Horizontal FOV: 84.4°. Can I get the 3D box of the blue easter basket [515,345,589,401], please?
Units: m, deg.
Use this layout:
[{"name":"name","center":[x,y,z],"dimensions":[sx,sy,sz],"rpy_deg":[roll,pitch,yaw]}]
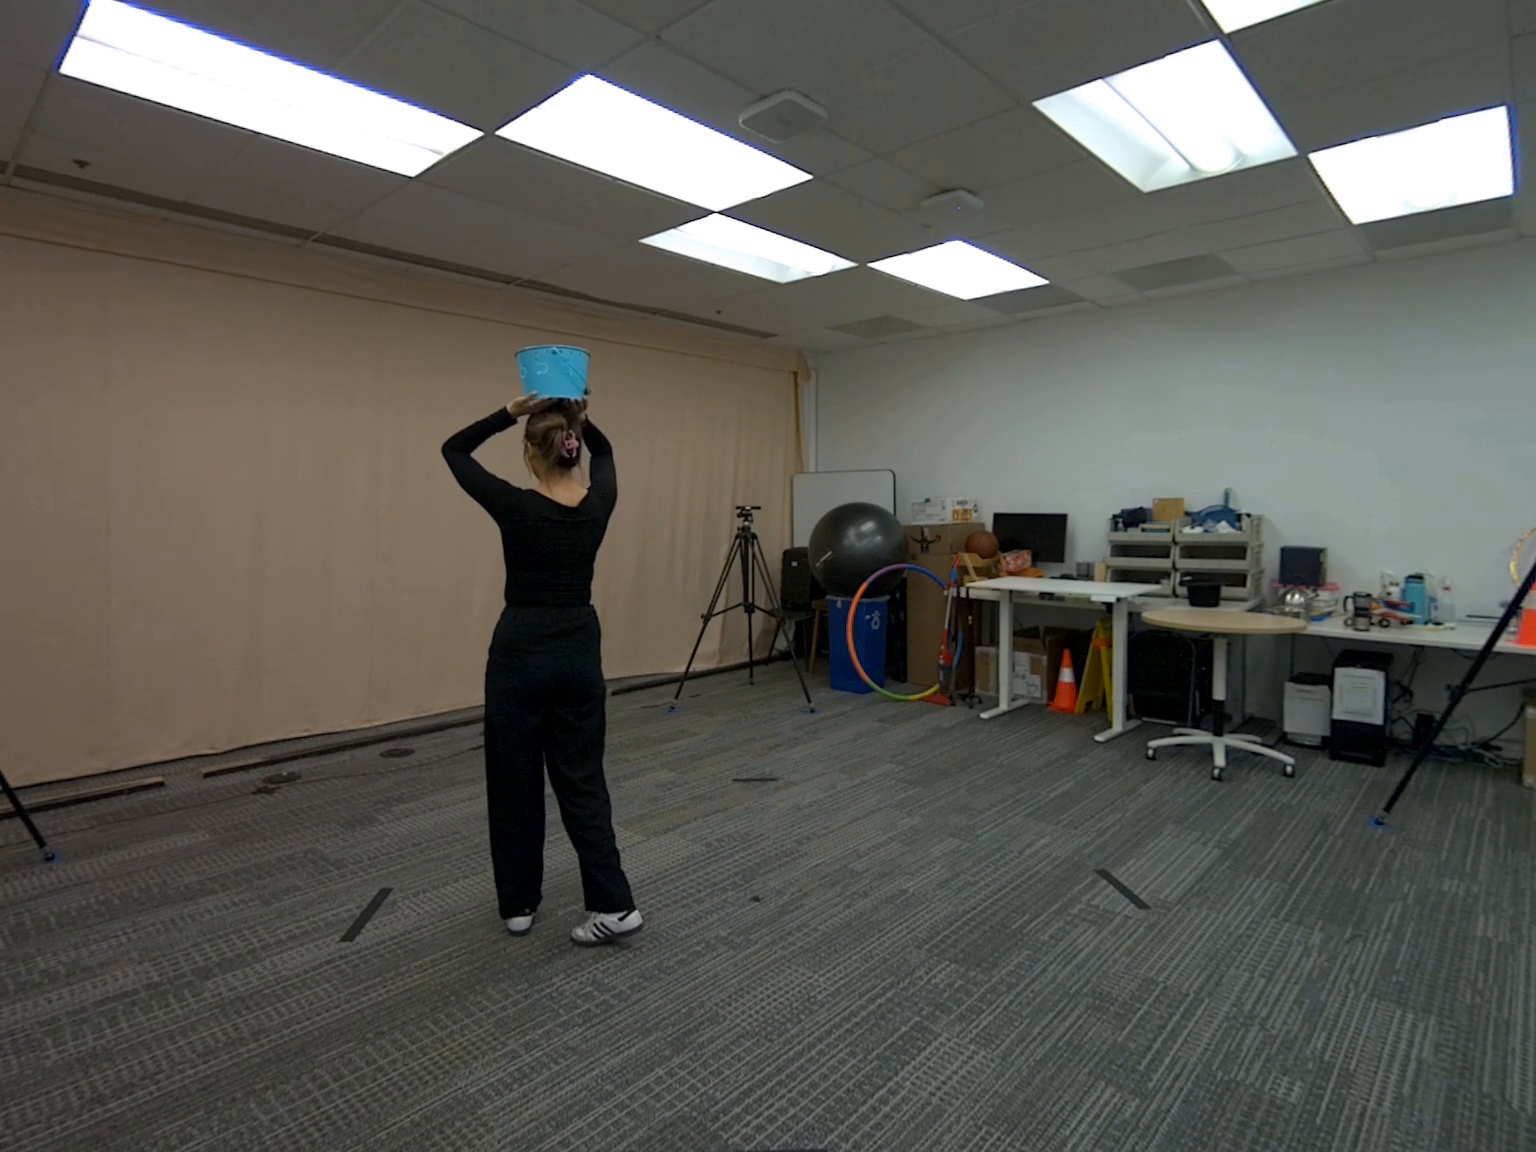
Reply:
[{"name":"blue easter basket","center":[-0.669,-0.615,2.622],"dimensions":[0.243,0.156,0.244],"rpy_deg":[-4,1,-2]}]
